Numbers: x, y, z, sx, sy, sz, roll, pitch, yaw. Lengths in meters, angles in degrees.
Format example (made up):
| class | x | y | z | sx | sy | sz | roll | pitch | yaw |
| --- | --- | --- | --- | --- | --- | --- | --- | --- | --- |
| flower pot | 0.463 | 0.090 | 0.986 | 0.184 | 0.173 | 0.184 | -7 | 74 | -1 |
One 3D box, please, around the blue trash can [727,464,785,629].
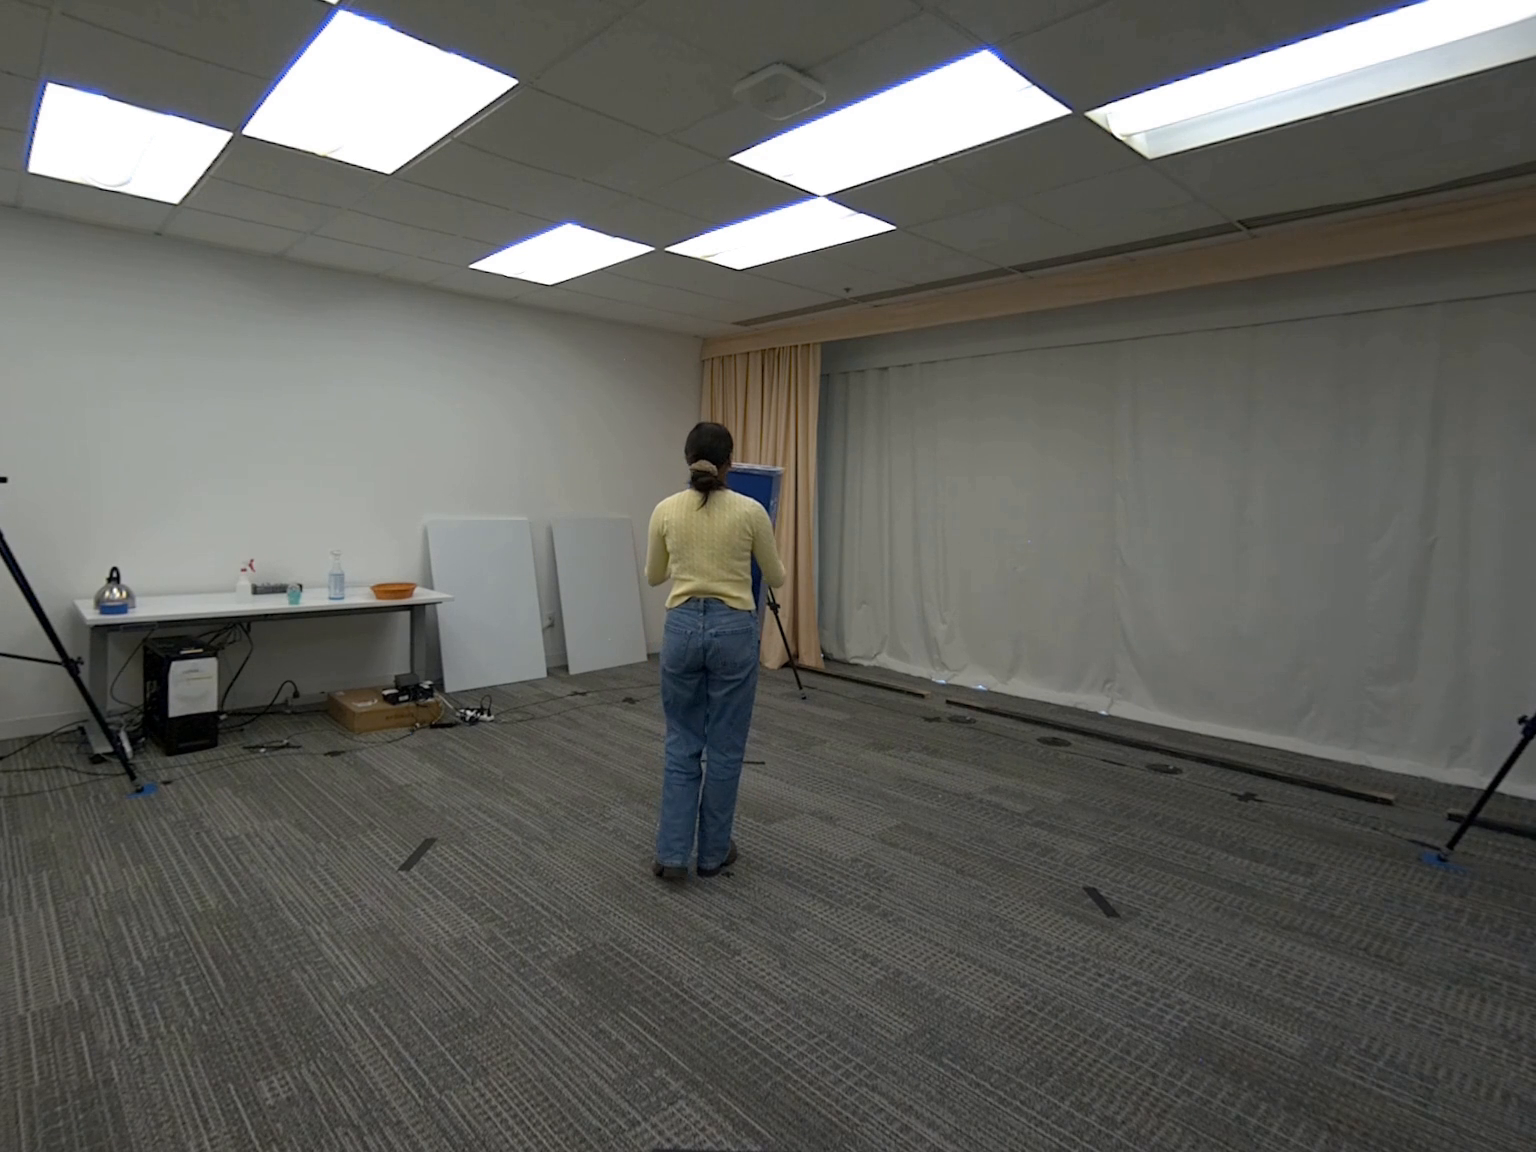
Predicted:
| class | x | y | z | sx | sy | sz | roll | pitch | yaw |
| --- | --- | --- | --- | --- | --- | --- | --- | --- | --- |
| blue trash can | -0.162 | -0.117 | 3.531 | 0.381 | 0.710 | 0.373 | 7 | 8 | 7 |
